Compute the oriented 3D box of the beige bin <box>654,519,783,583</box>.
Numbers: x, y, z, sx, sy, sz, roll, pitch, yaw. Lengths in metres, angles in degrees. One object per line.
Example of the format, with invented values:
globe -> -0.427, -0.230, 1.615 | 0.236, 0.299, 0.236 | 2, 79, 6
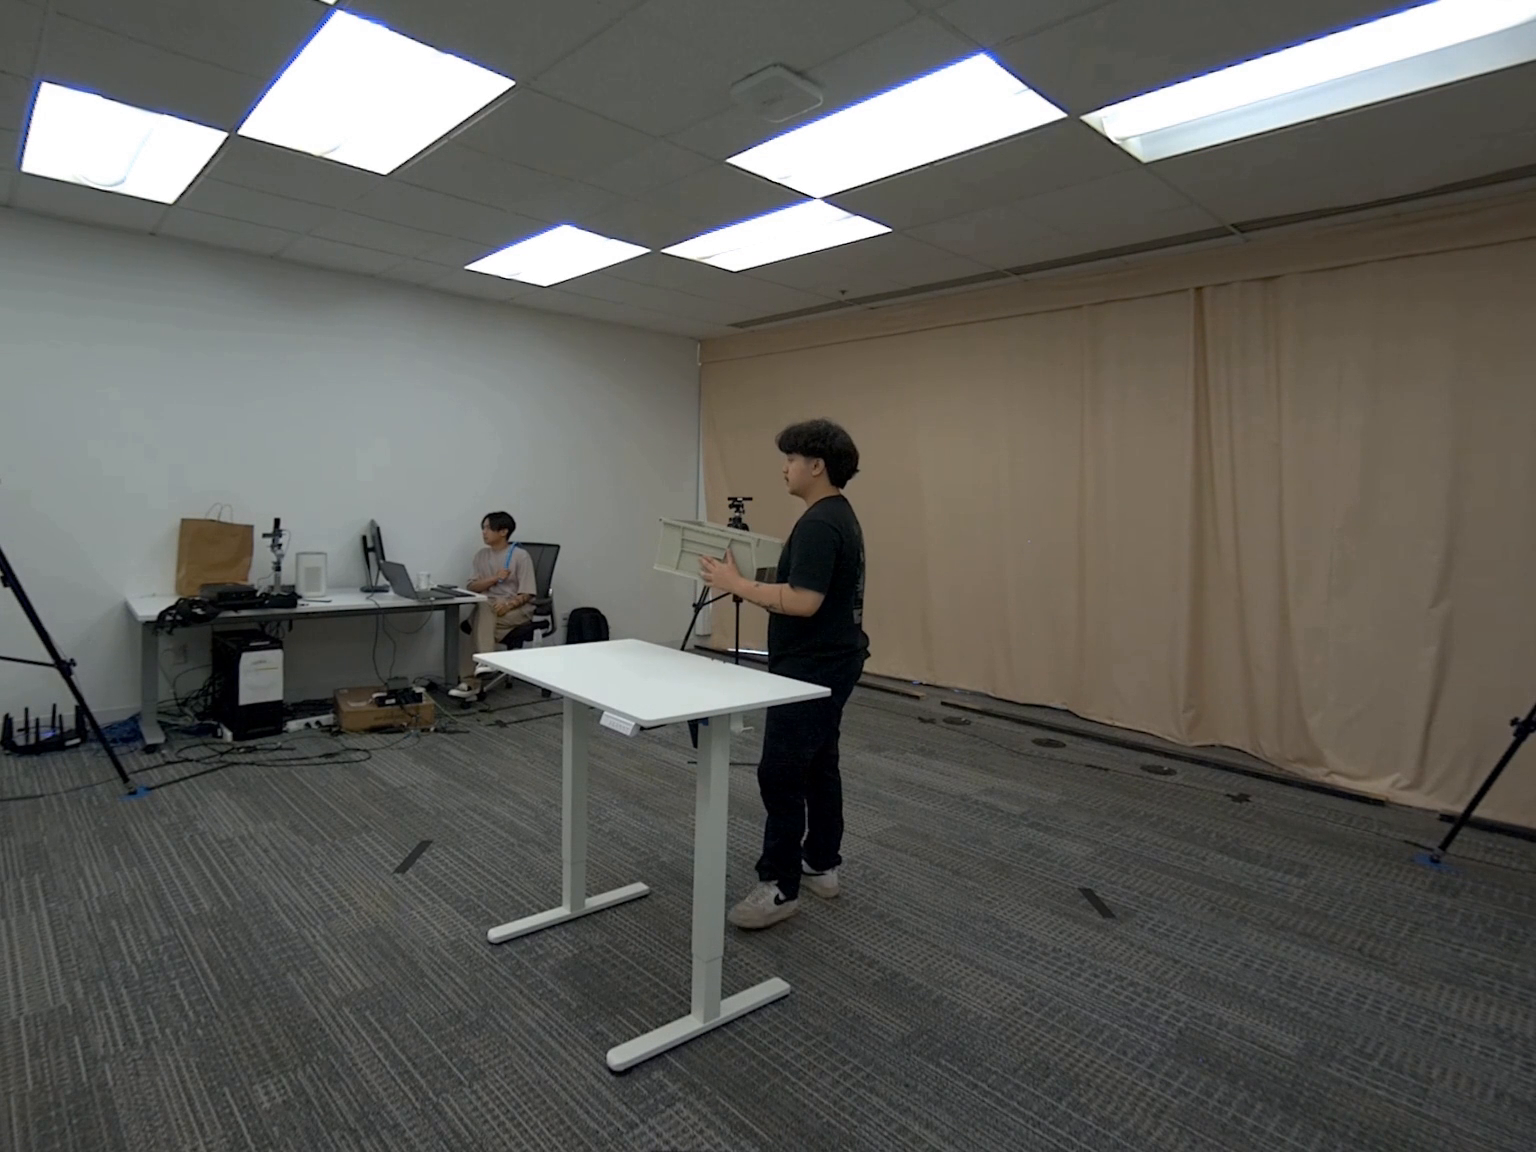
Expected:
beige bin -> -0.165, -0.075, 3.038 | 0.383, 0.188, 0.417 | 12, 5, 16
